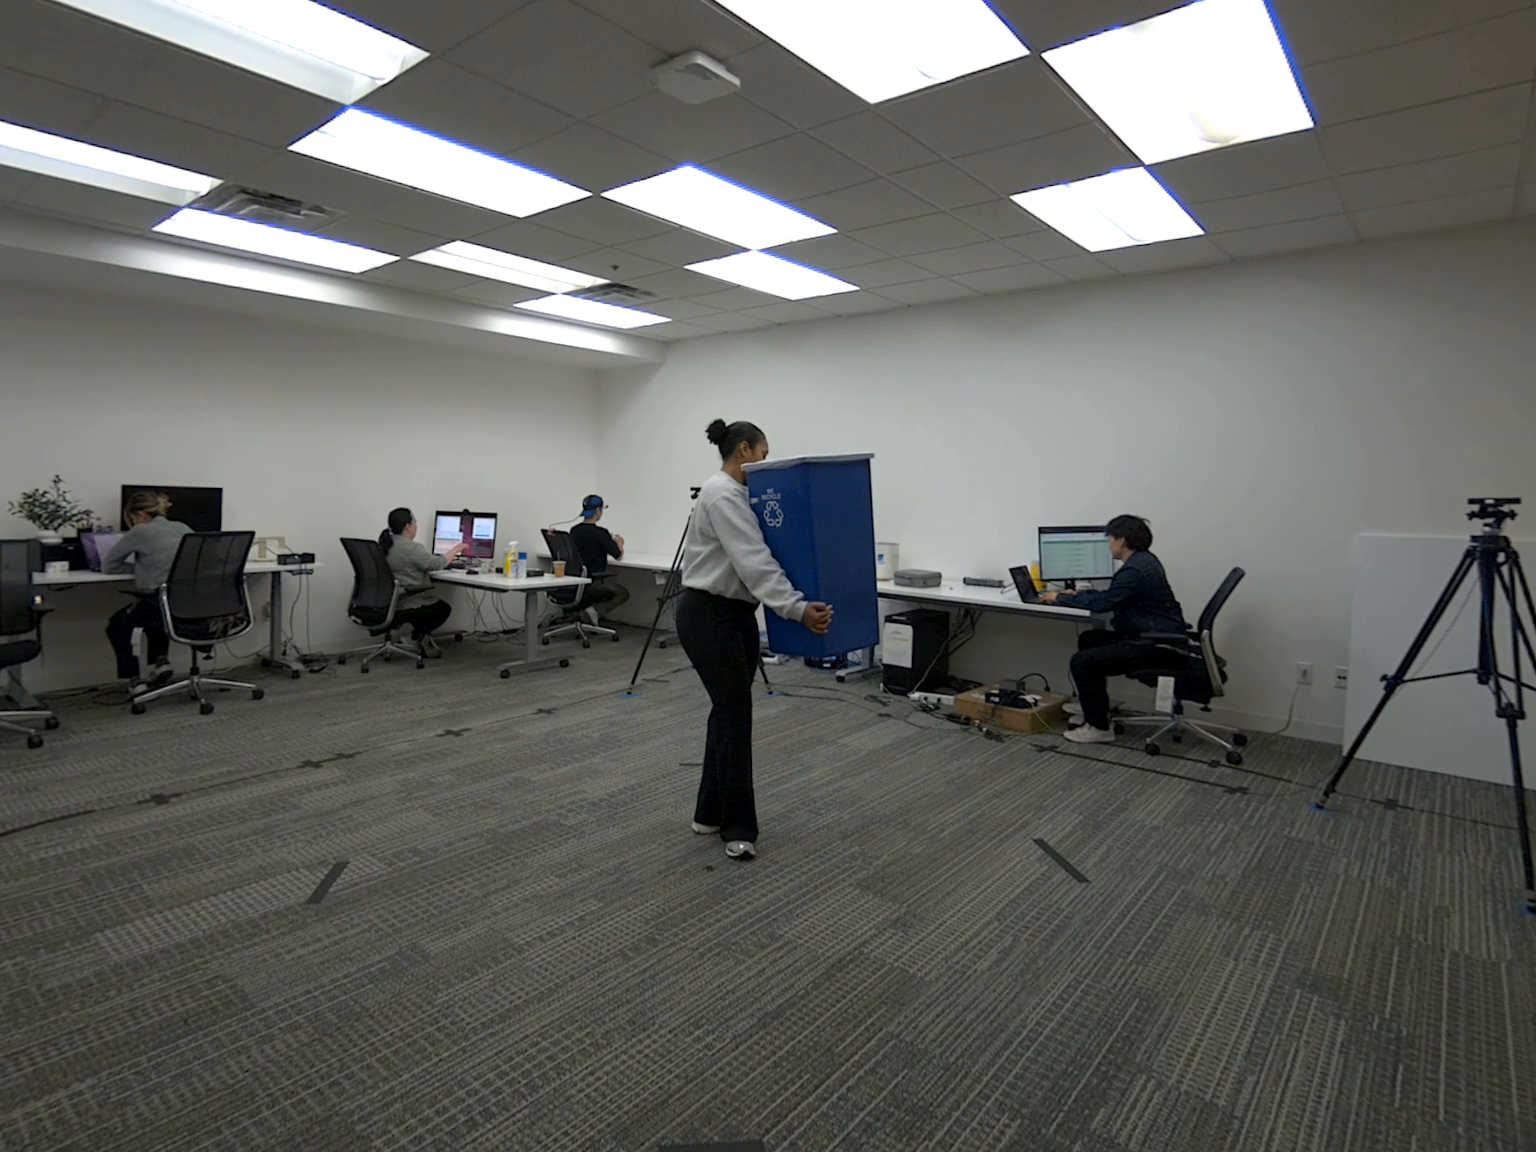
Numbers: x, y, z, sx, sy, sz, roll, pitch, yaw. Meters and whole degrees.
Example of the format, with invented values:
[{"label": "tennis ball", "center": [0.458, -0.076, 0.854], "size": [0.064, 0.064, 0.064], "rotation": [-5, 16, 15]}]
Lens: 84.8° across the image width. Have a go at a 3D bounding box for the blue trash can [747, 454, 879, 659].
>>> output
[{"label": "blue trash can", "center": [0.164, -0.085, 3.165], "size": [0.364, 0.712, 0.389], "rotation": [-7, 3, -42]}]
